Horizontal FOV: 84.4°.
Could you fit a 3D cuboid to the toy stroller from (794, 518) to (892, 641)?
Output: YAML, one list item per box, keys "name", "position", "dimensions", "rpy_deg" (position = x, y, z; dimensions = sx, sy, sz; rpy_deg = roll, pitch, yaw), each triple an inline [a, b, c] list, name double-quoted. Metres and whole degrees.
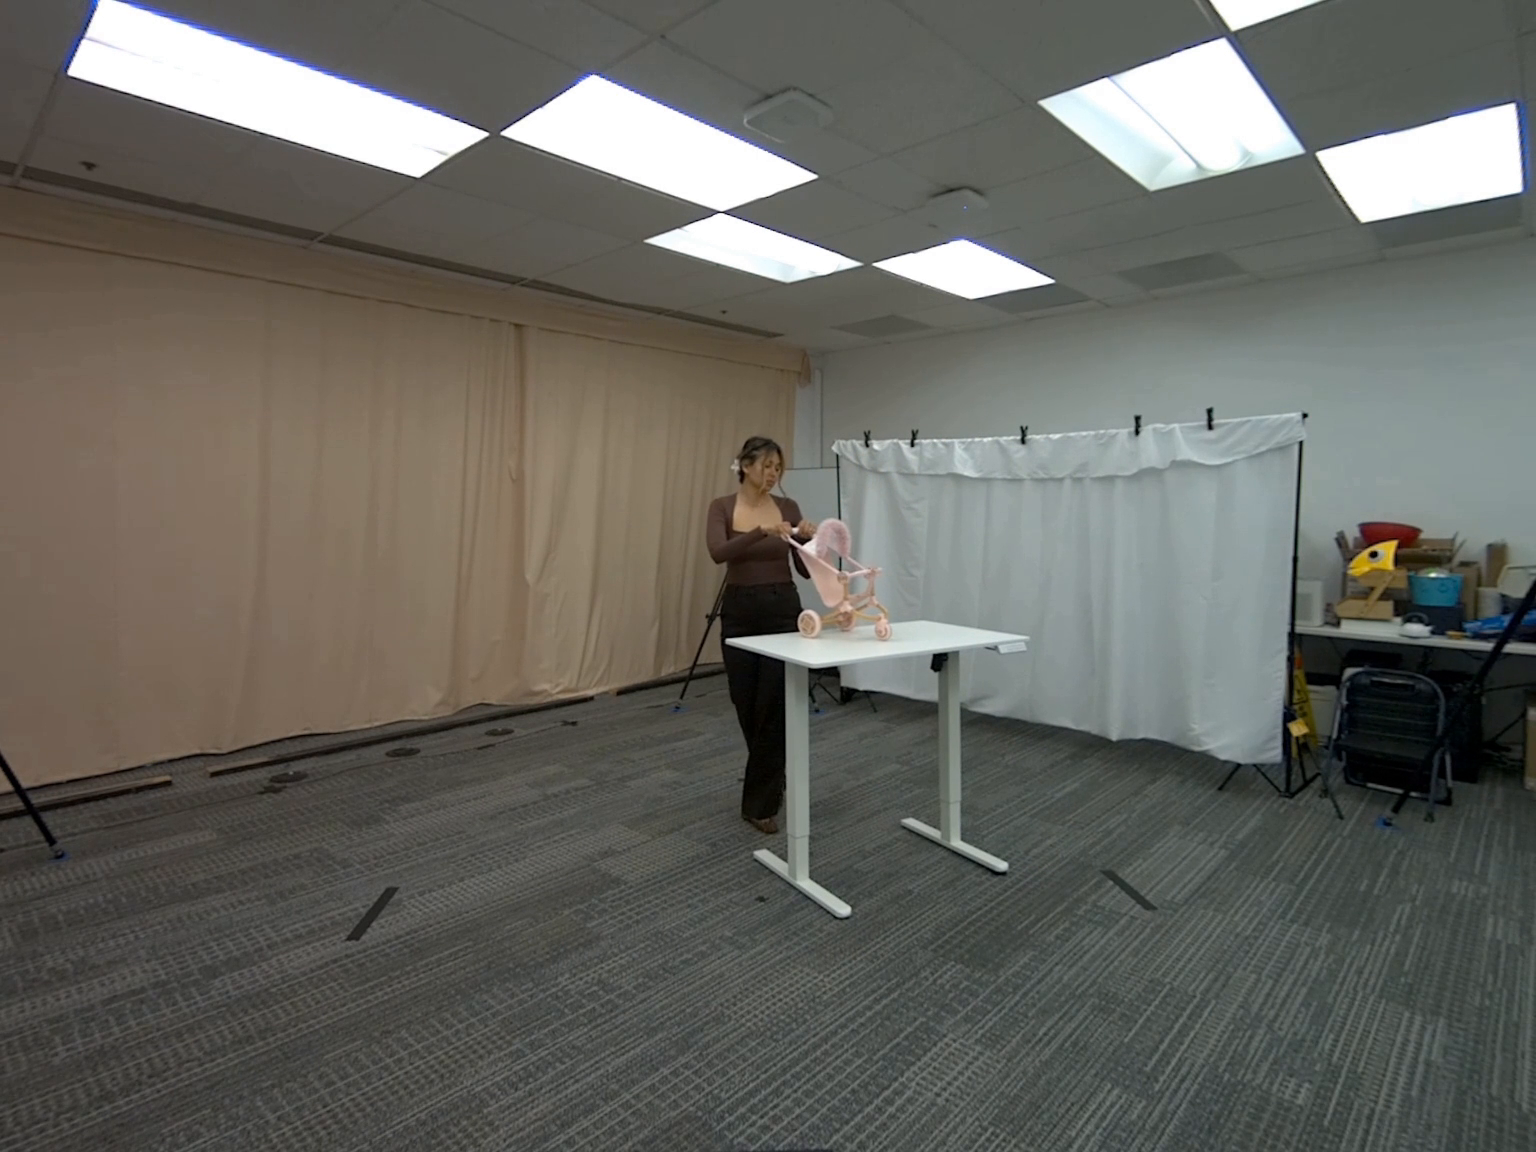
- name: "toy stroller"
  position: [0.282, 0.014, 3.293]
  dimensions: [0.273, 0.539, 0.349]
  rpy_deg: [-6, -11, -45]
